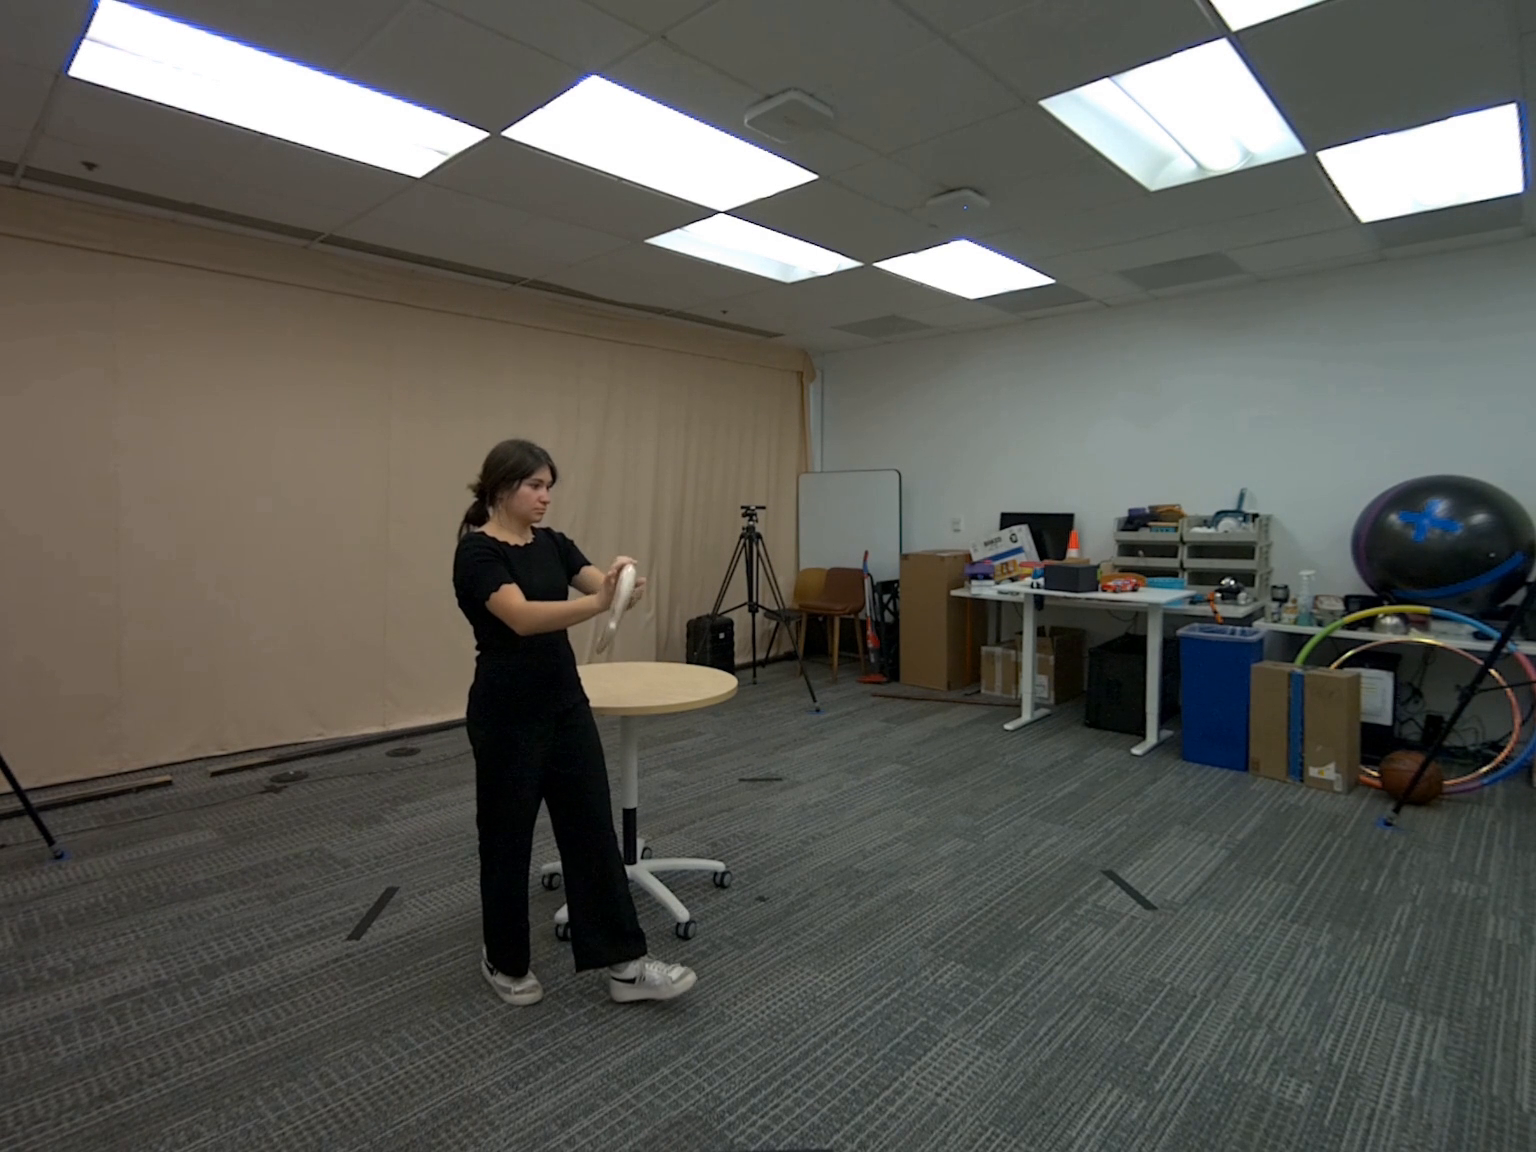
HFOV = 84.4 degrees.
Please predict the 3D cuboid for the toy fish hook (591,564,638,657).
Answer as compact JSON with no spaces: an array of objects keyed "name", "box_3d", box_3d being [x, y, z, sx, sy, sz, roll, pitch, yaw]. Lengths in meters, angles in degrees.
[{"name":"toy fish hook","box_3d":[-0.407,0.080,2.105,0.047,0.225,0.515,25,-8,-16]}]
